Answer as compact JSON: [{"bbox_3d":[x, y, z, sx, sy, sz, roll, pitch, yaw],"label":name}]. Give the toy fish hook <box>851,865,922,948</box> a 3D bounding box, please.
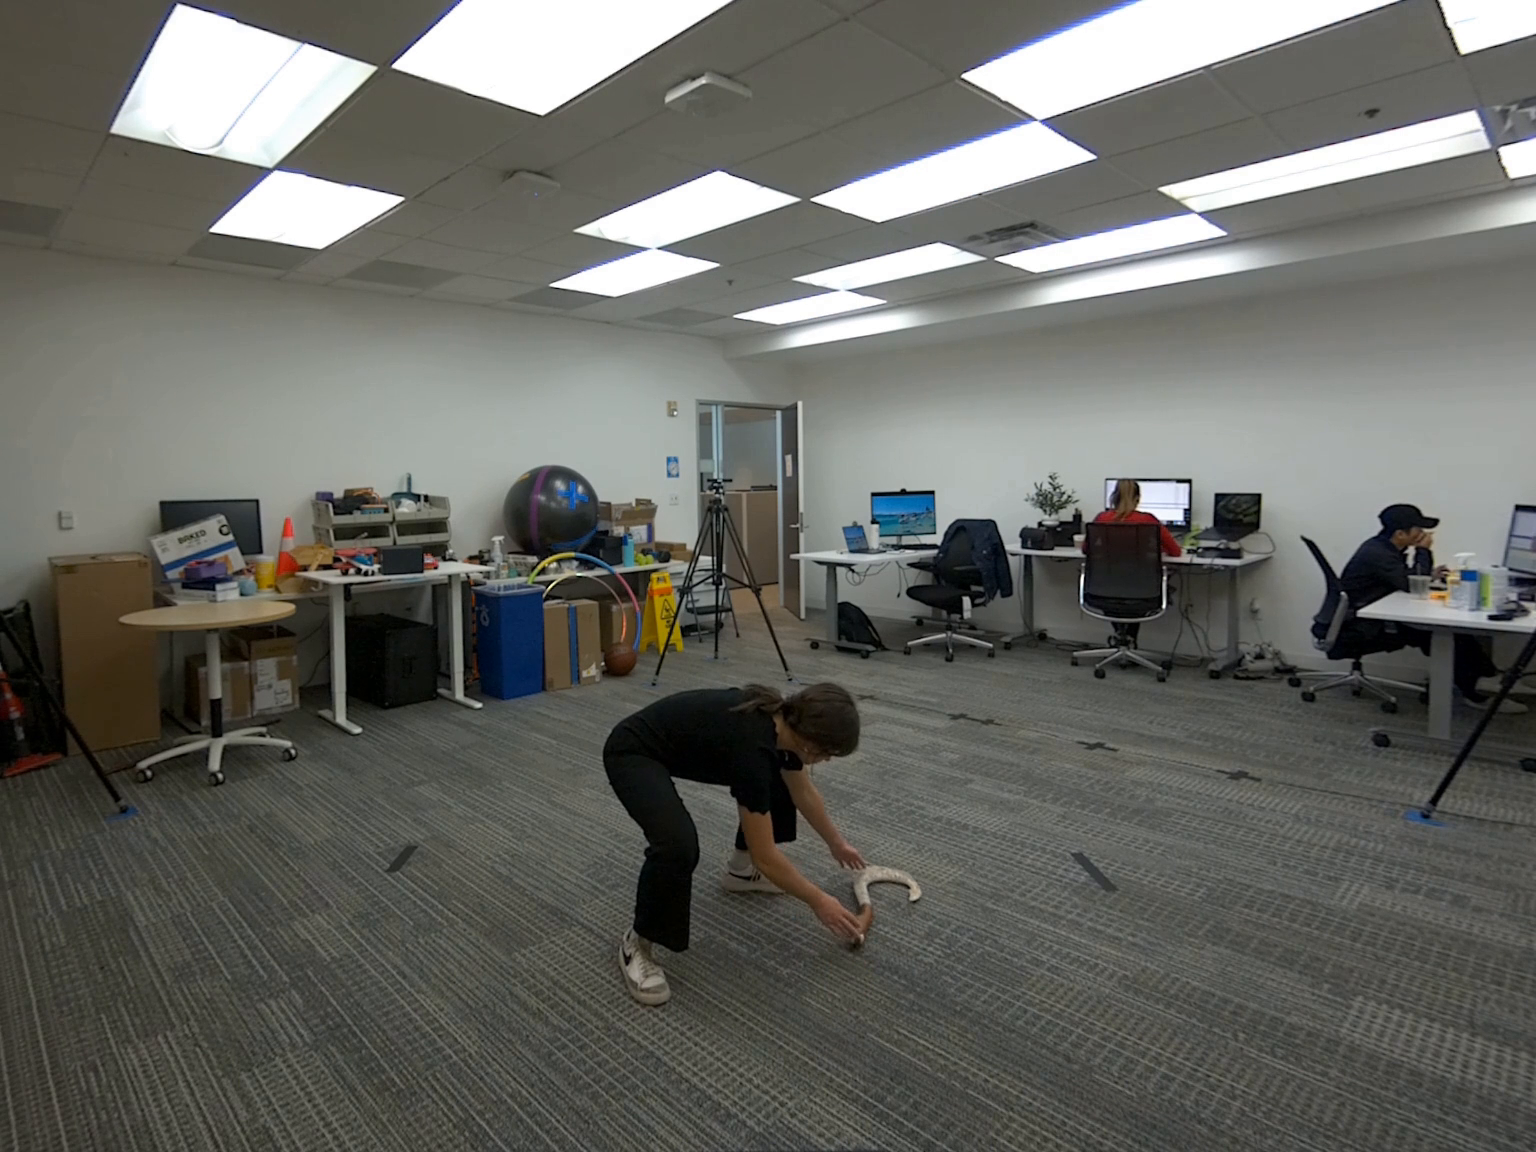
[{"bbox_3d":[0.372,1.058,2.738,0.228,0.048,0.502,-1,7,14],"label":"toy fish hook"}]
